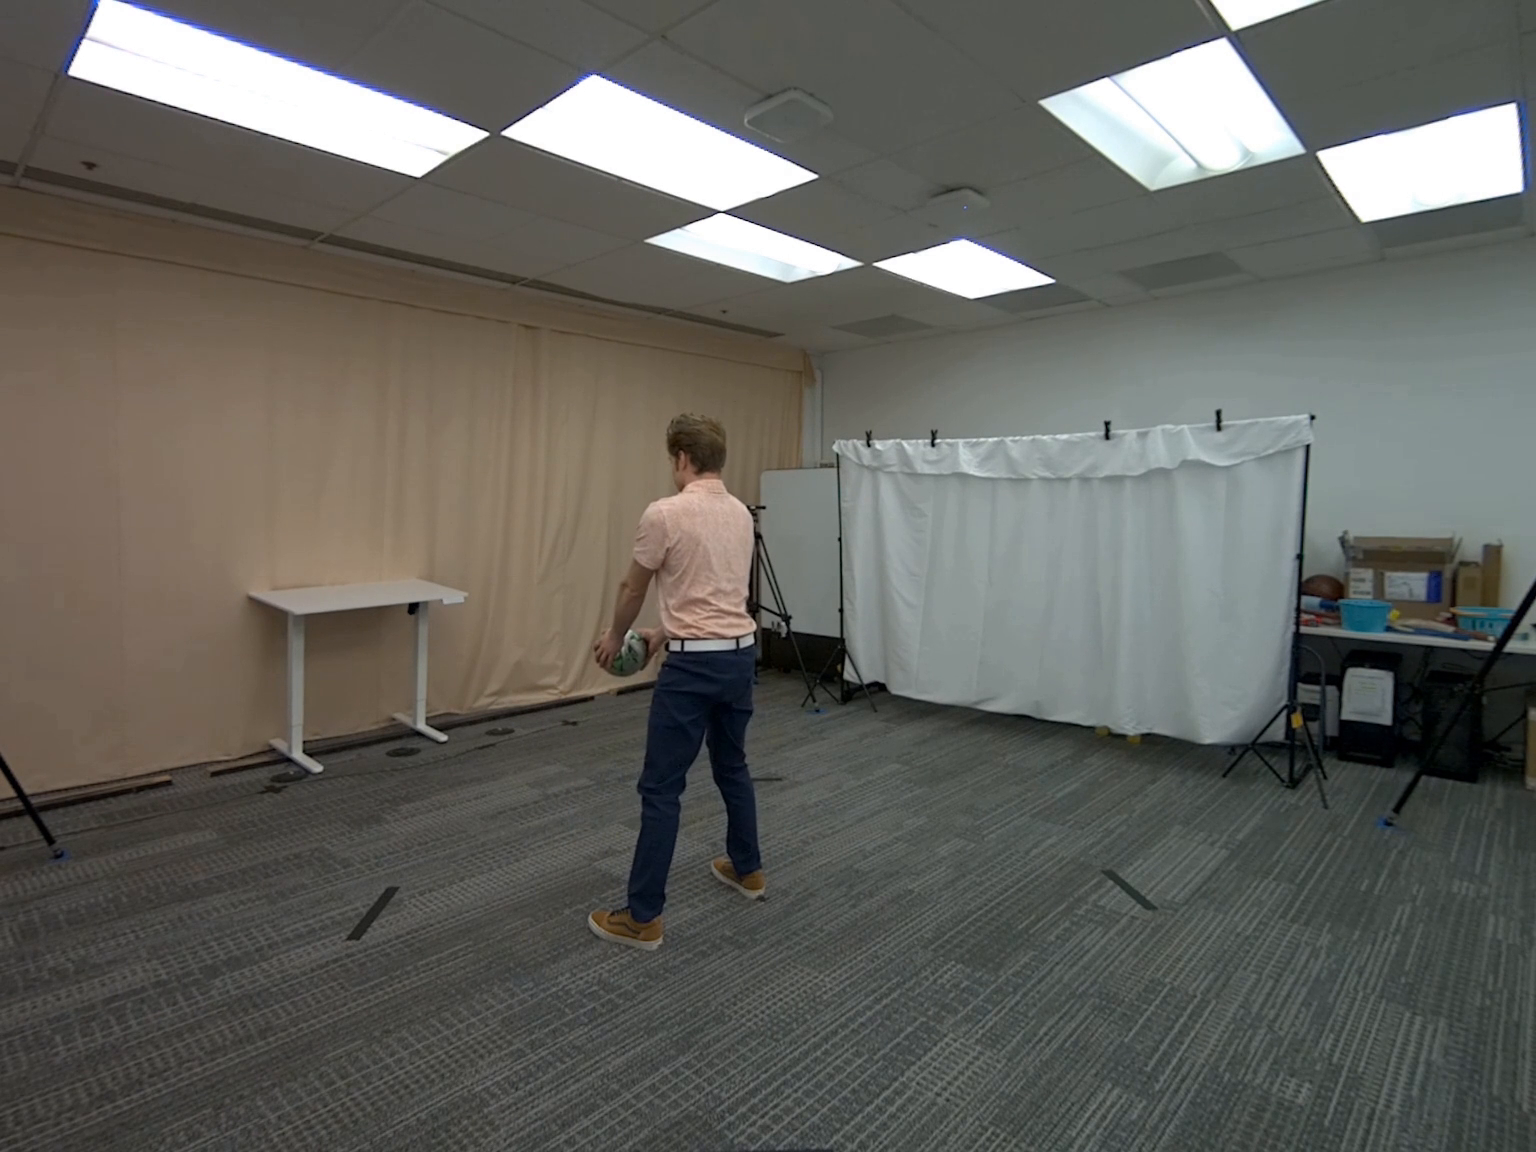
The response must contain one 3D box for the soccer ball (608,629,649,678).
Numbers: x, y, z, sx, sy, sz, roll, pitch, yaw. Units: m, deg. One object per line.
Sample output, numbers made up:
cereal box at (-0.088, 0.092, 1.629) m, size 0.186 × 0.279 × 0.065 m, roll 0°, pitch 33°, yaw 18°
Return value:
soccer ball at (-0.551, 0.290, 3.145) m, size 0.187 × 0.187 × 0.188 m, roll 0°, pitch 4°, yaw -2°
